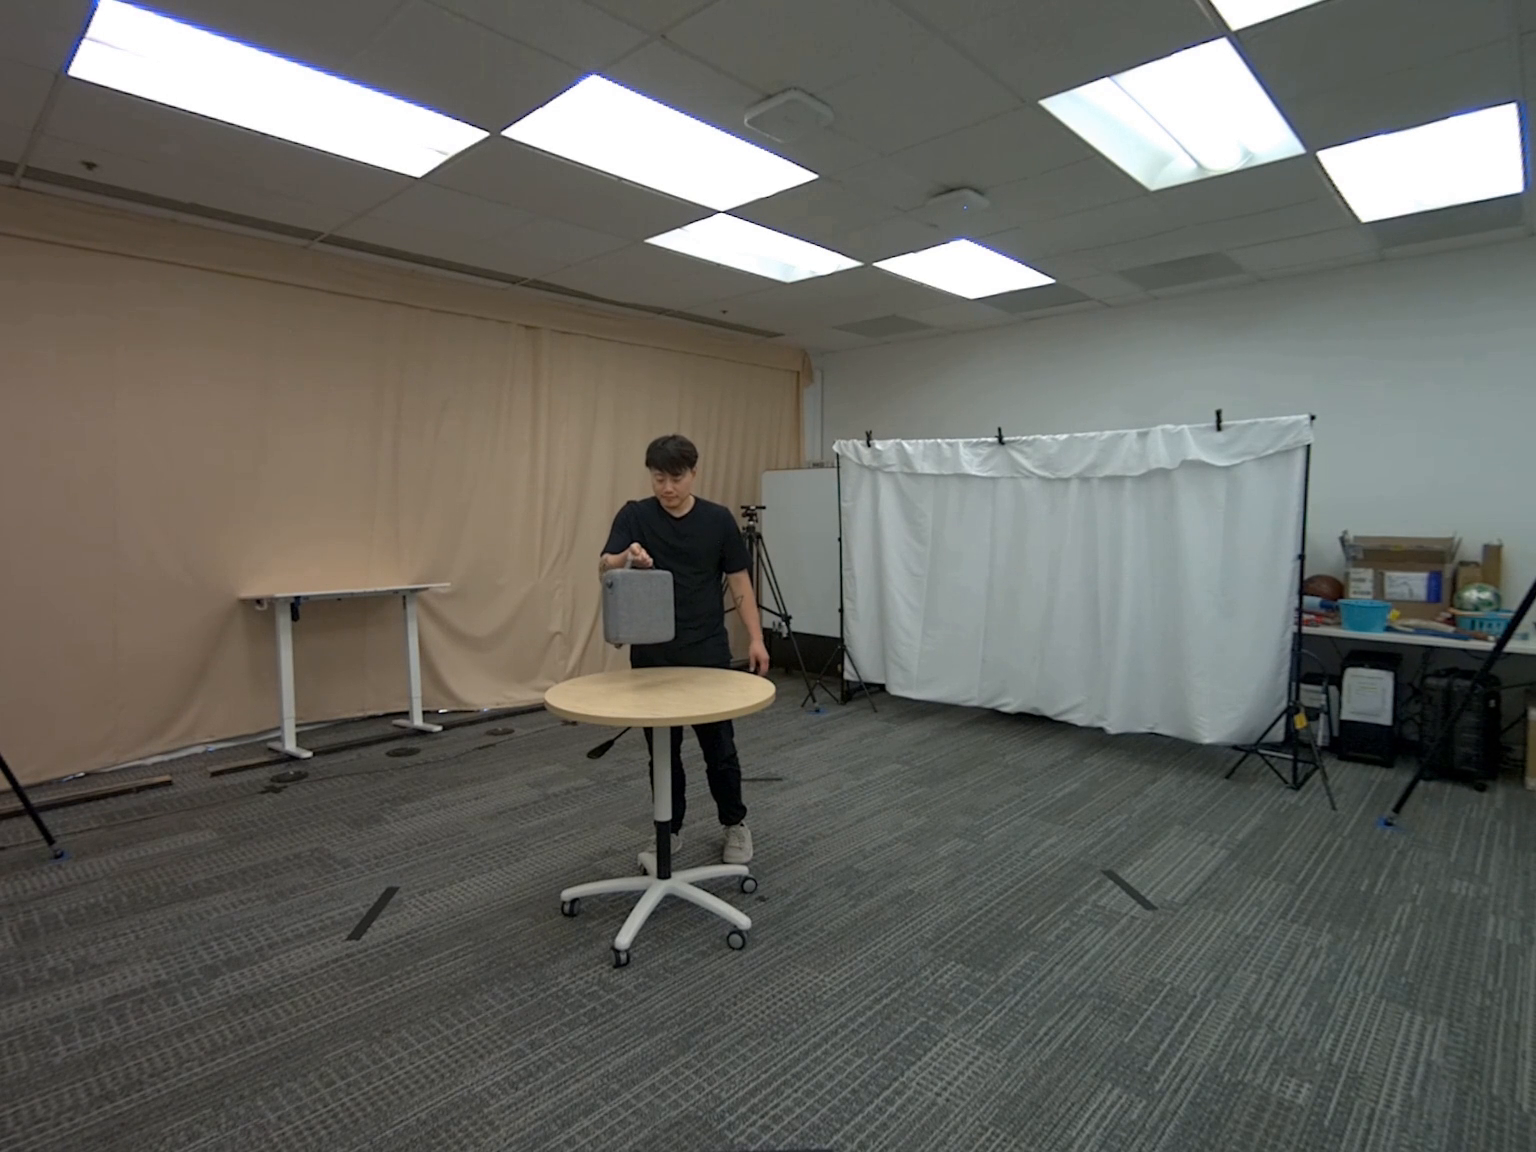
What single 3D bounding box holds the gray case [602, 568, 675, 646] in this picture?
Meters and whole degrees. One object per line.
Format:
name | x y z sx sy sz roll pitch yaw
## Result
gray case | -0.442 0.103 2.913 0.248 0.261 0.107 2 -4 -43
